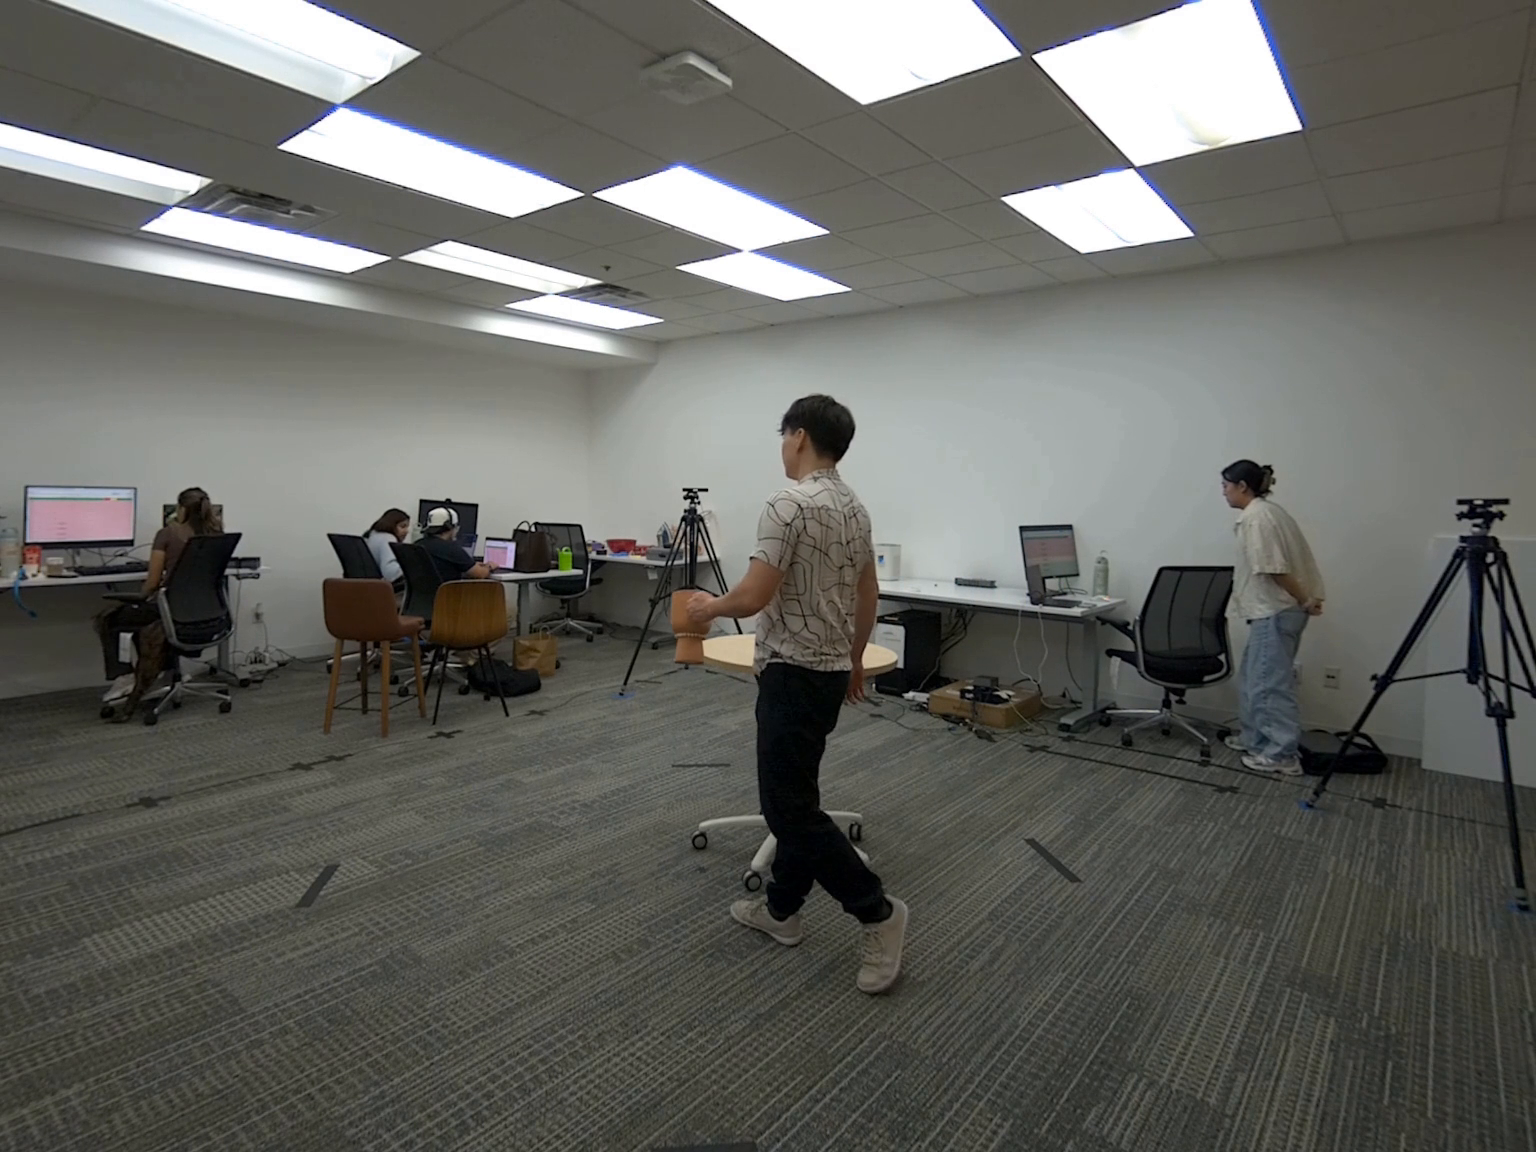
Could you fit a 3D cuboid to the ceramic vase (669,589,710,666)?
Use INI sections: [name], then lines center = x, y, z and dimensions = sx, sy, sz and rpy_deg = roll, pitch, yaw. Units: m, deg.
[ceramic vase]
center = -0.241, 0.163, 2.698
dimensions = 0.138, 0.222, 0.153
rpy_deg = -6, -15, 28
